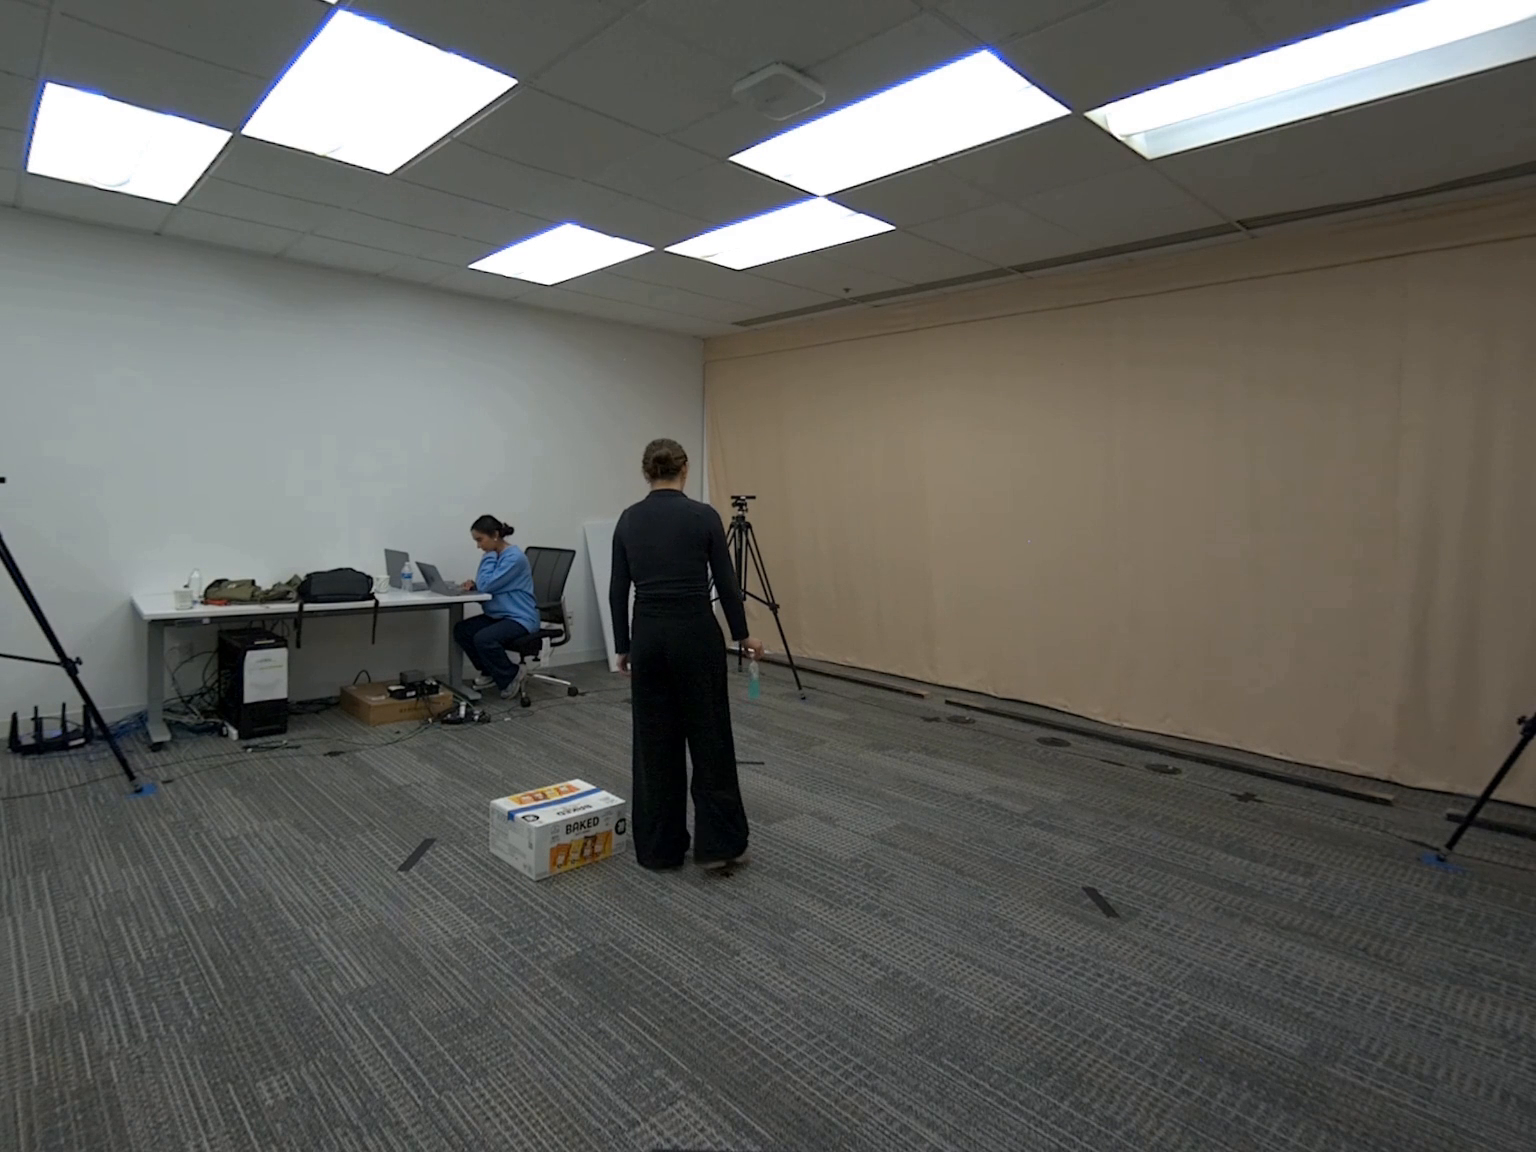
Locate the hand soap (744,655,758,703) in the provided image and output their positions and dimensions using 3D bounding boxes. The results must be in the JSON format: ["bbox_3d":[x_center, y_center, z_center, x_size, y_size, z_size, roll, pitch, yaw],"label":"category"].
[{"bbox_3d":[-0.070,0.400,3.321,0.043,0.168,0.085,0,4,-5],"label":"hand soap"}]
